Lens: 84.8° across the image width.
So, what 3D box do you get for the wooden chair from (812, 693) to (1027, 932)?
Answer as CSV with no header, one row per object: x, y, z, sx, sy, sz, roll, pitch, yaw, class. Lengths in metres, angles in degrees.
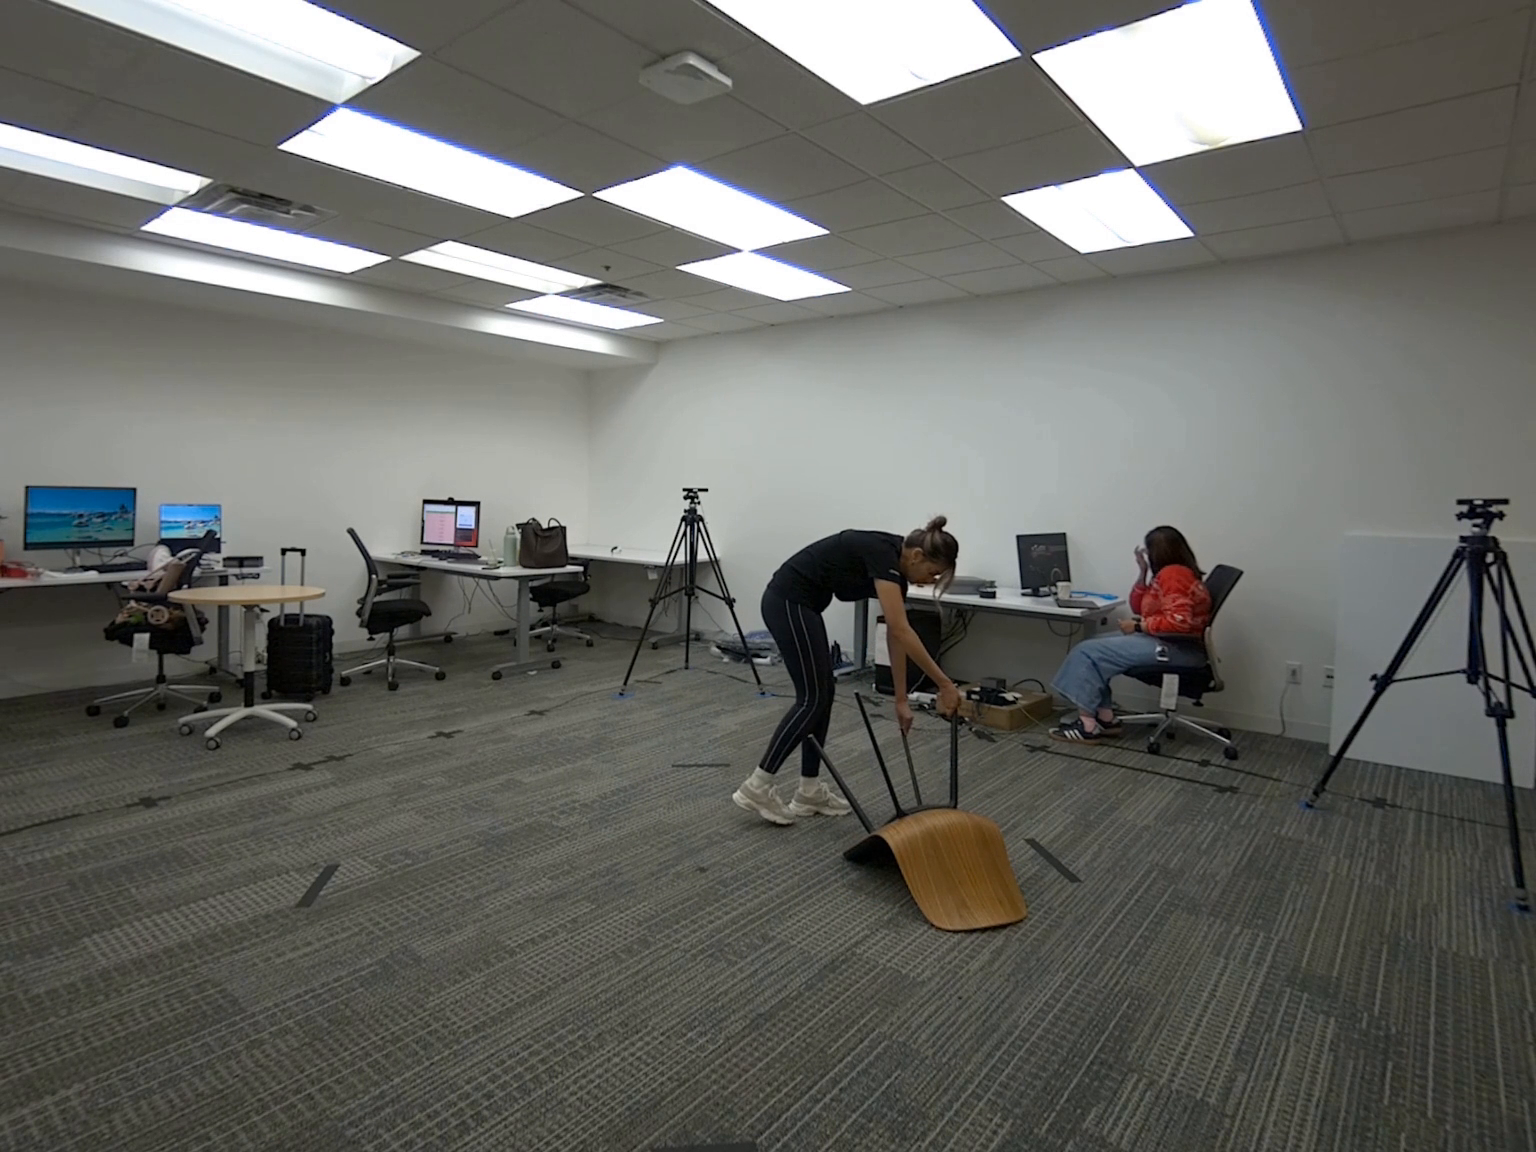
0.533,0.910,3.162,0.468,0.907,0.517,0,-36,-23,wooden chair
